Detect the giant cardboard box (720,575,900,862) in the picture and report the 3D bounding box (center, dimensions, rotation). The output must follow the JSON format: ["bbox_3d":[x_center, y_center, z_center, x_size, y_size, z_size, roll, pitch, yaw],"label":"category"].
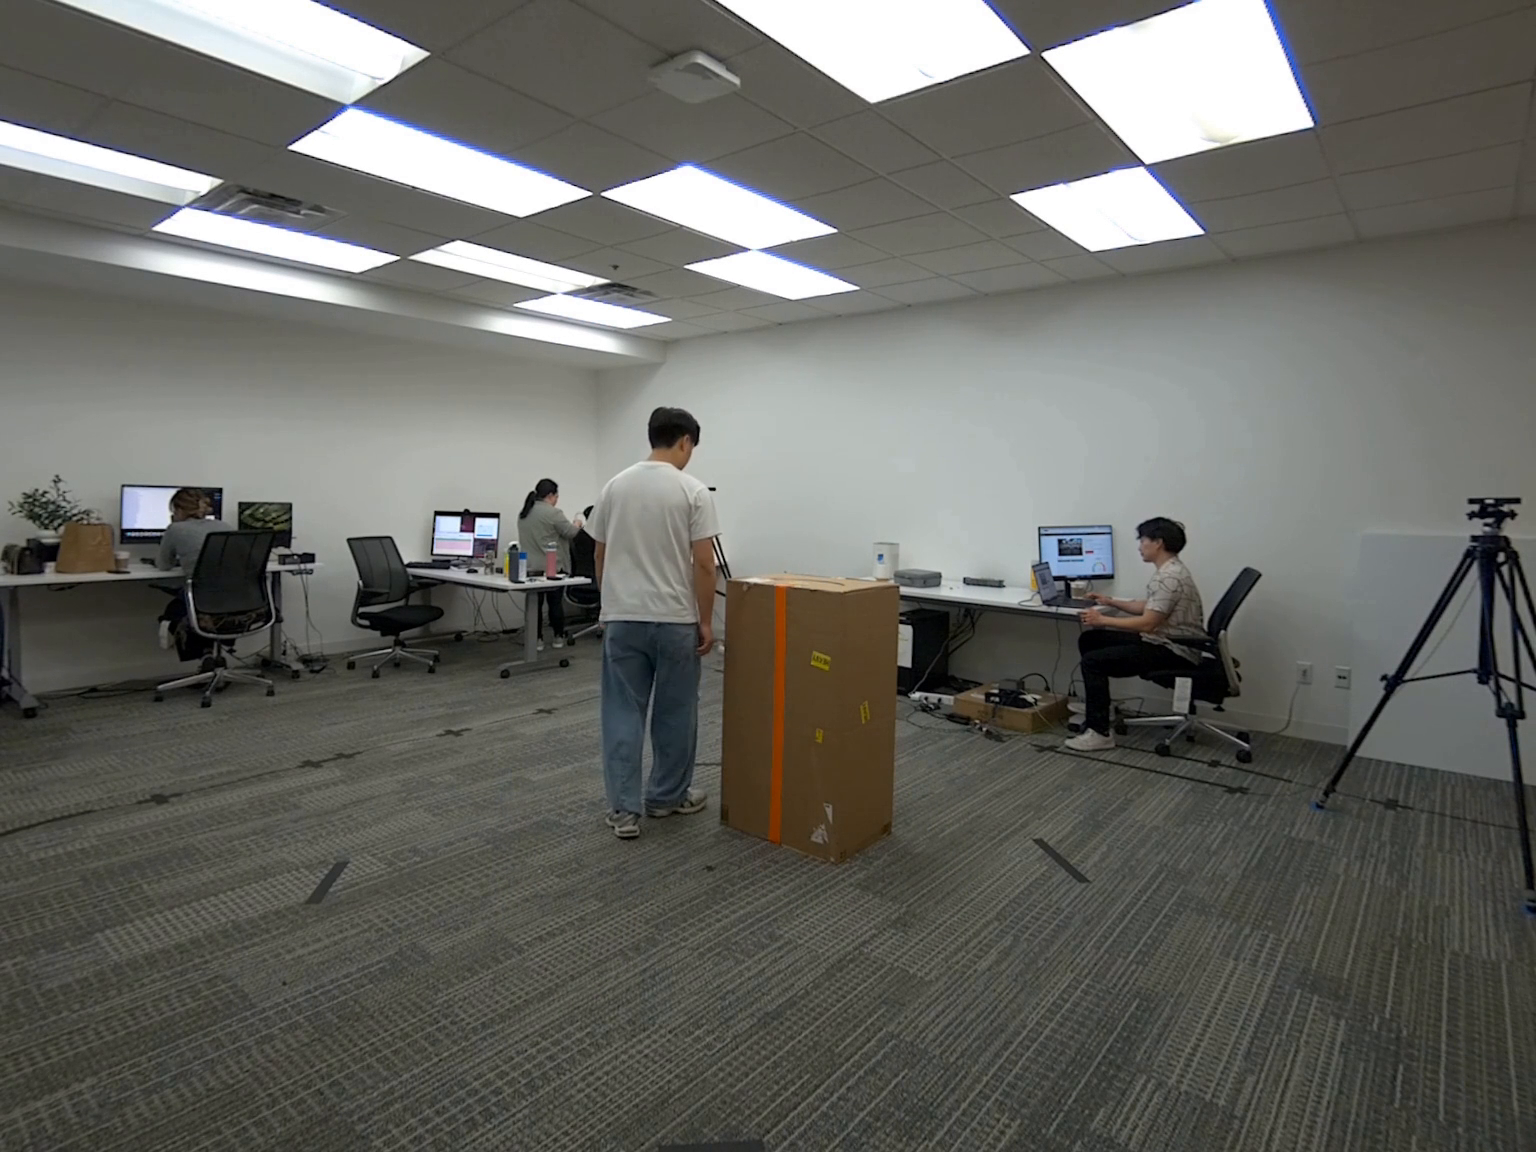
[{"bbox_3d":[0.158,0.530,3.478,0.597,1.023,0.413,4,4,39],"label":"giant cardboard box"}]
